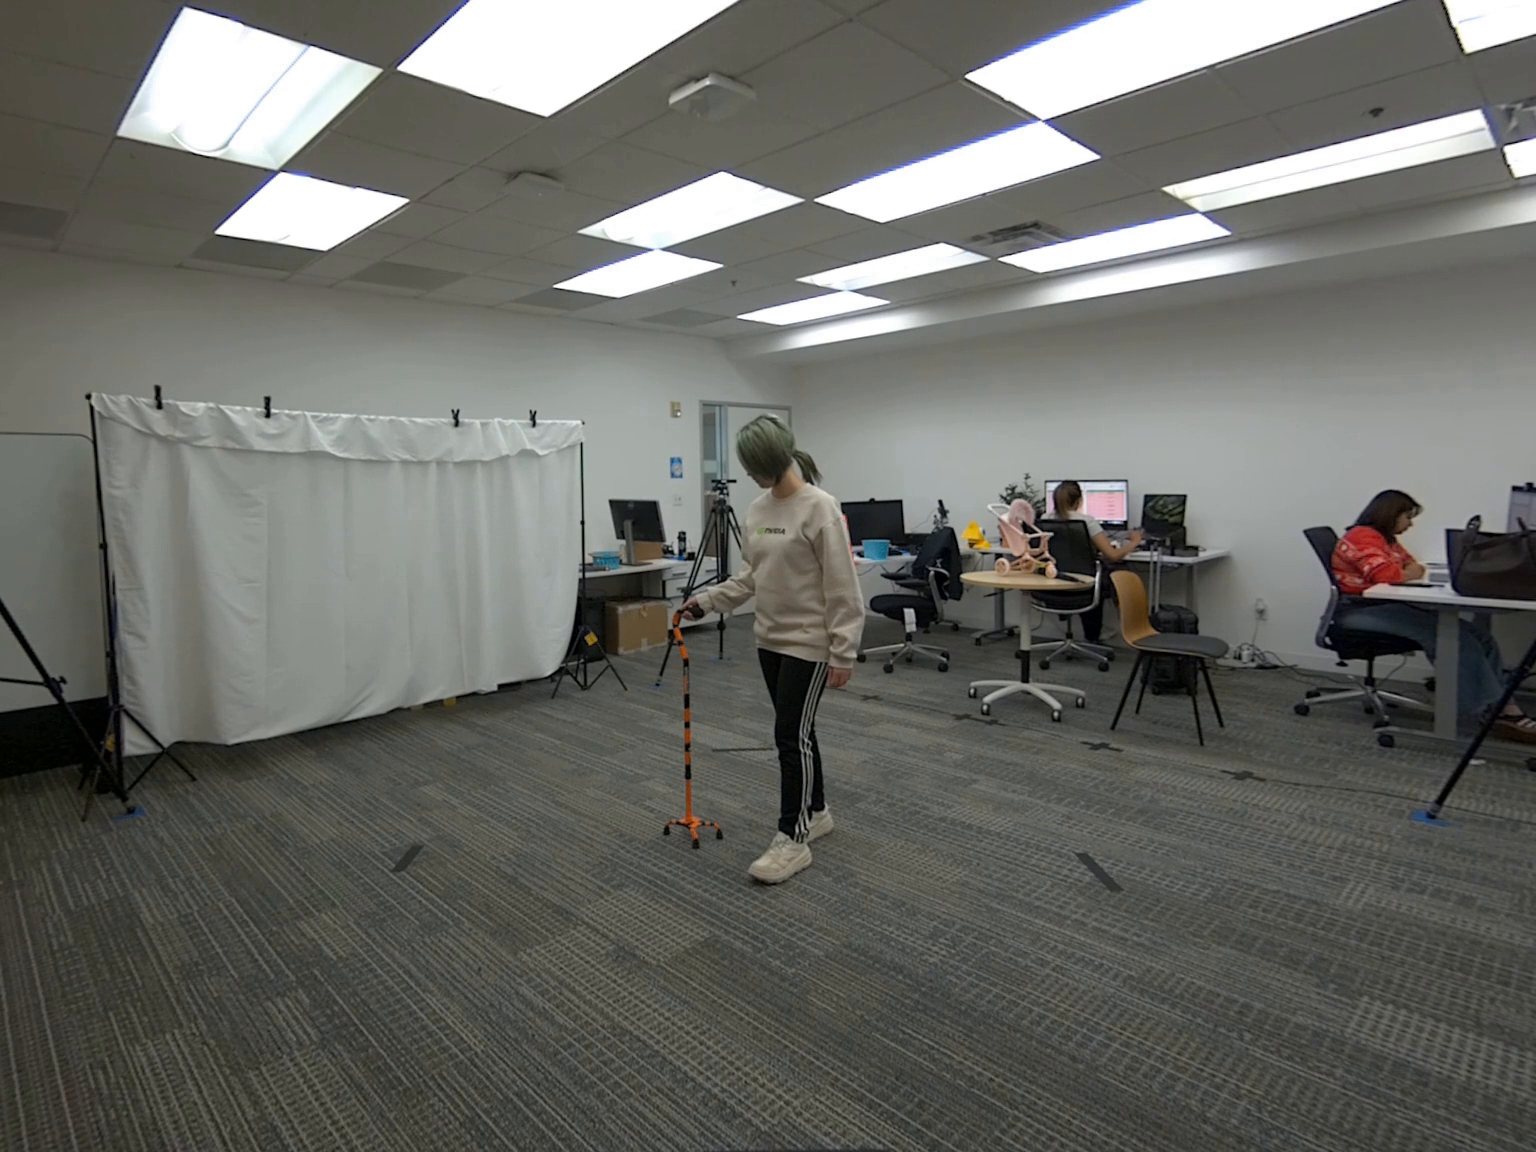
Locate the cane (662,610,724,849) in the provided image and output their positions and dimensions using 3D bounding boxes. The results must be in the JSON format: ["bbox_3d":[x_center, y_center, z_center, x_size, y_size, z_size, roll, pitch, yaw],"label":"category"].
[{"bbox_3d":[-0.305,0.573,3.330,0.148,0.904,0.213,-6,6,-43],"label":"cane"}]
